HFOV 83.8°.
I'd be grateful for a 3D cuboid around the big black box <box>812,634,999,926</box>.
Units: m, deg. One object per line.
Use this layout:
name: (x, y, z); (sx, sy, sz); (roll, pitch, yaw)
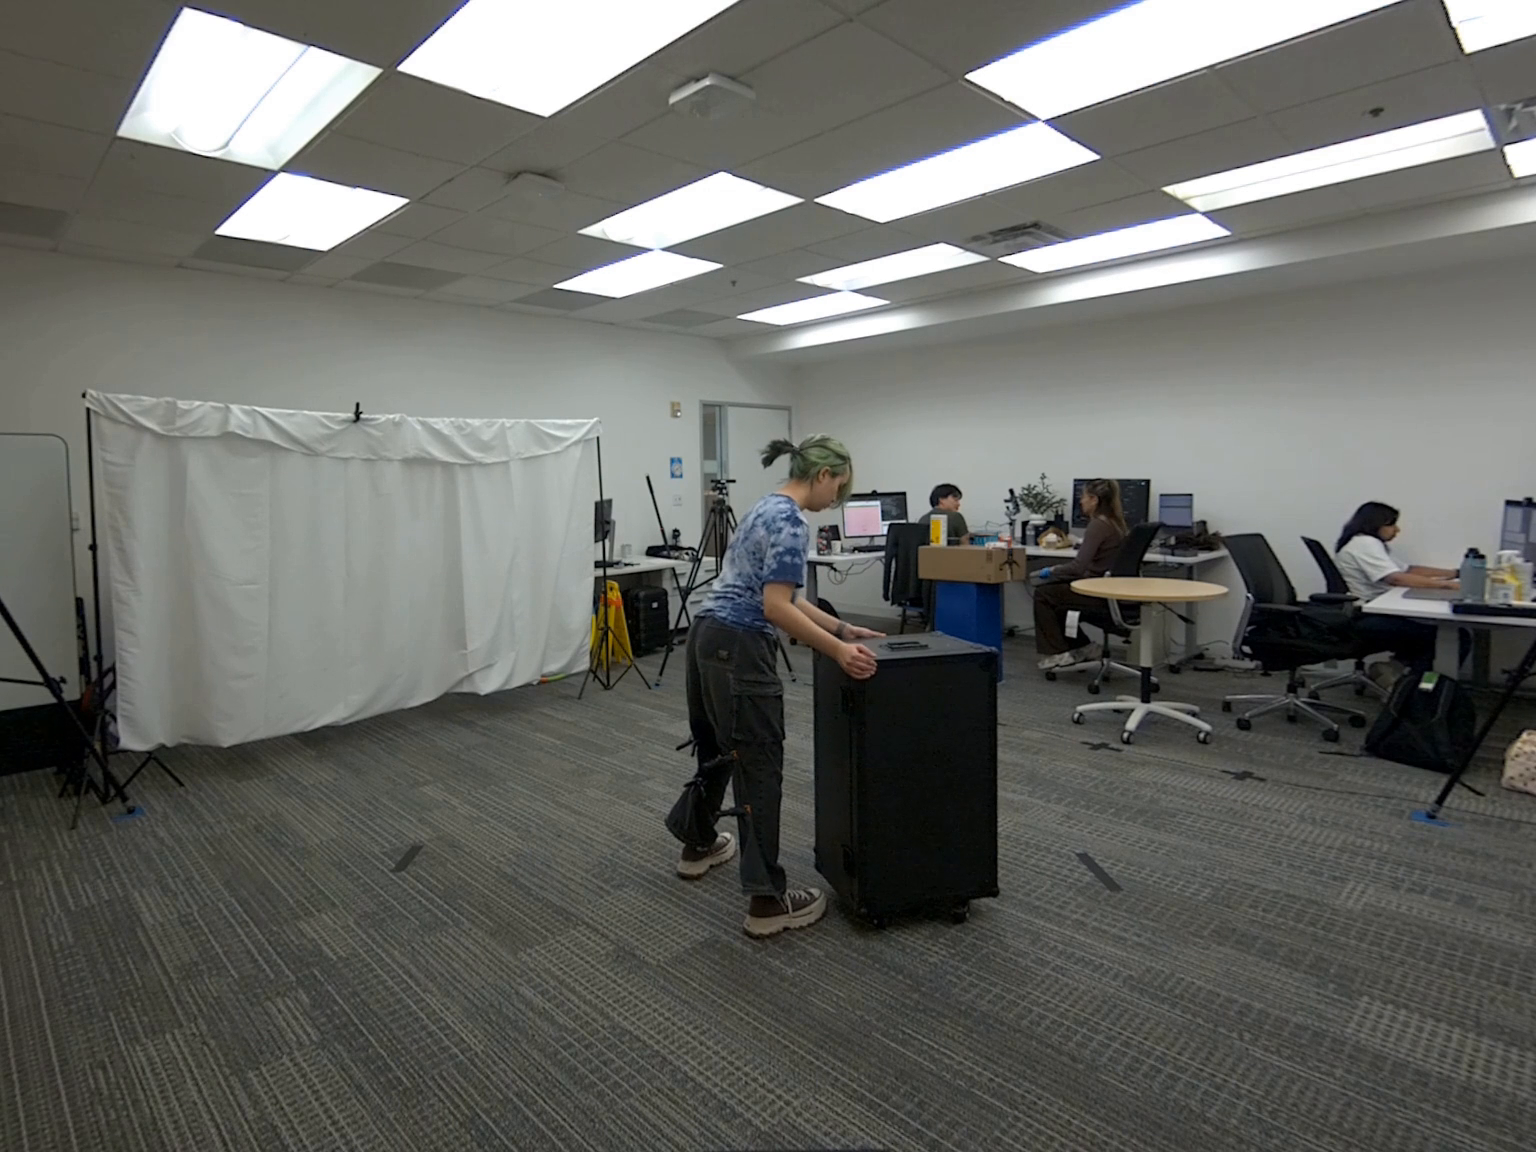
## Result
big black box: (0.430, 0.642, 2.787); (0.514, 0.859, 0.403); (-2, 3, -16)
